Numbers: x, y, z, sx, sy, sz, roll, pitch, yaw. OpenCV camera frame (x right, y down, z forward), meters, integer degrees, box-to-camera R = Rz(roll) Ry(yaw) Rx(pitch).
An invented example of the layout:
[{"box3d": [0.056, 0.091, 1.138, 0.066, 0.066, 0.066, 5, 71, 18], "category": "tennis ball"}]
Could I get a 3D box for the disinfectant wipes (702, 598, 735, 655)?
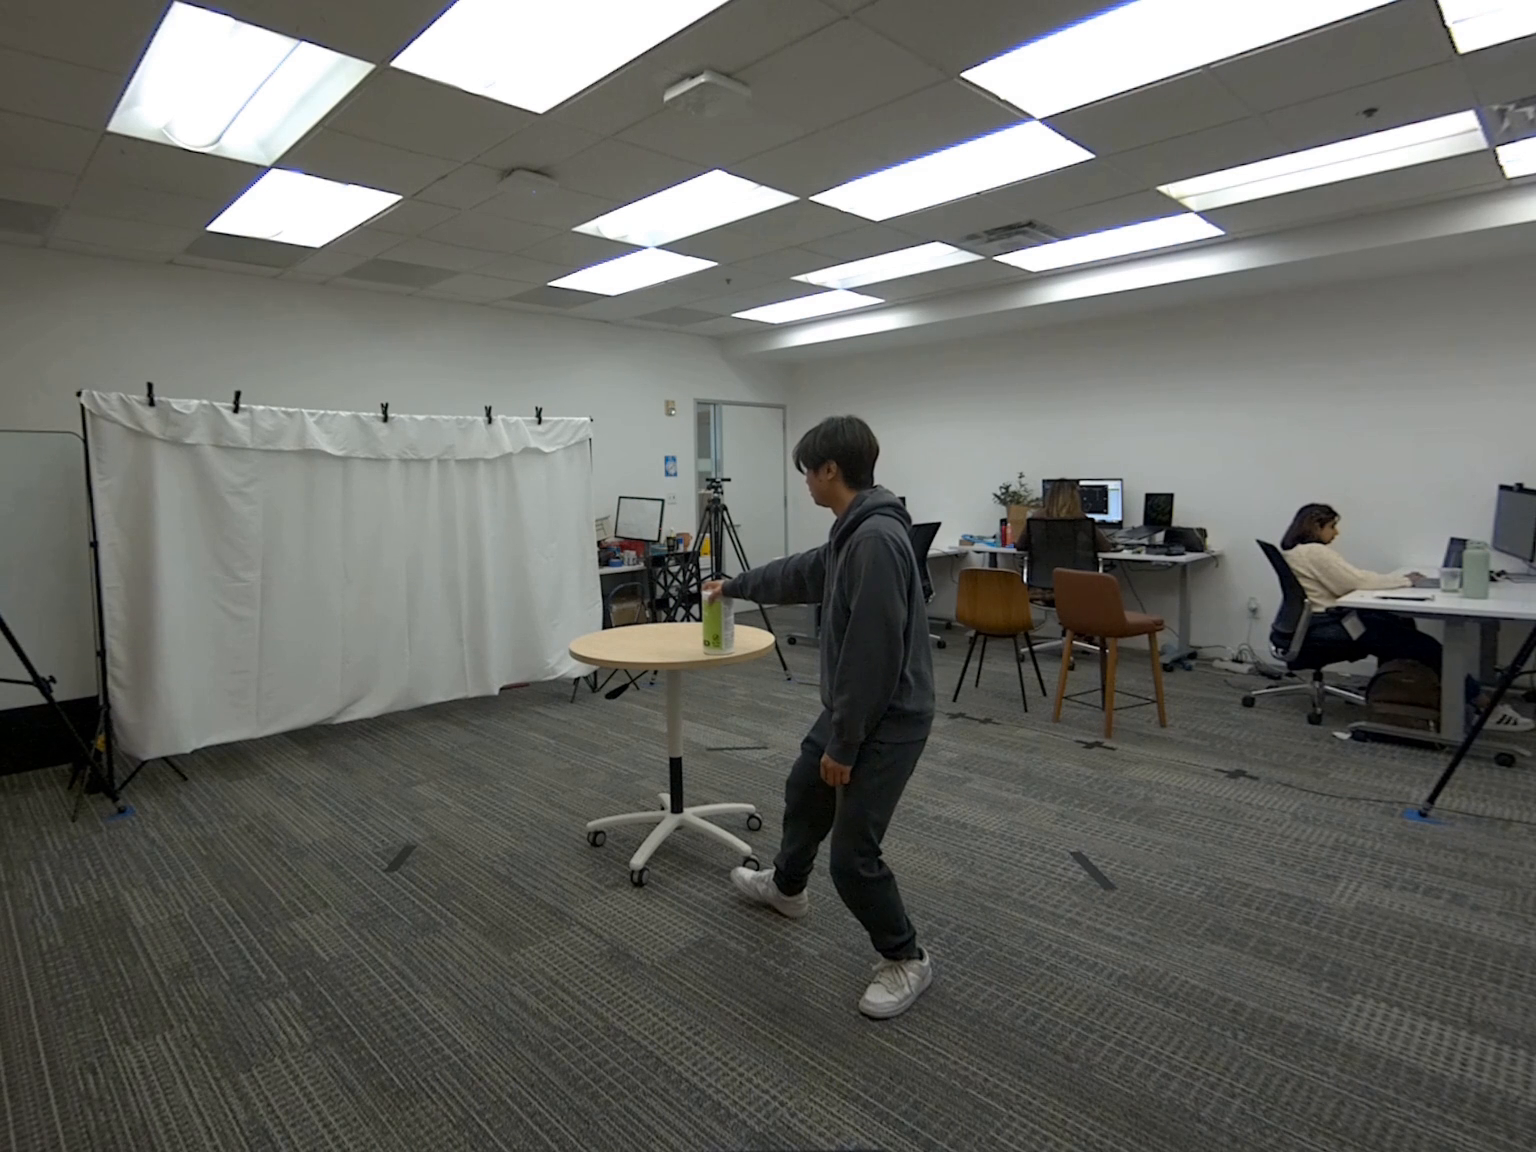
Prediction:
[{"box3d": [-0.170, 0.156, 2.948, 0.118, 0.216, 0.118, 1, 7, -2], "category": "disinfectant wipes"}]
